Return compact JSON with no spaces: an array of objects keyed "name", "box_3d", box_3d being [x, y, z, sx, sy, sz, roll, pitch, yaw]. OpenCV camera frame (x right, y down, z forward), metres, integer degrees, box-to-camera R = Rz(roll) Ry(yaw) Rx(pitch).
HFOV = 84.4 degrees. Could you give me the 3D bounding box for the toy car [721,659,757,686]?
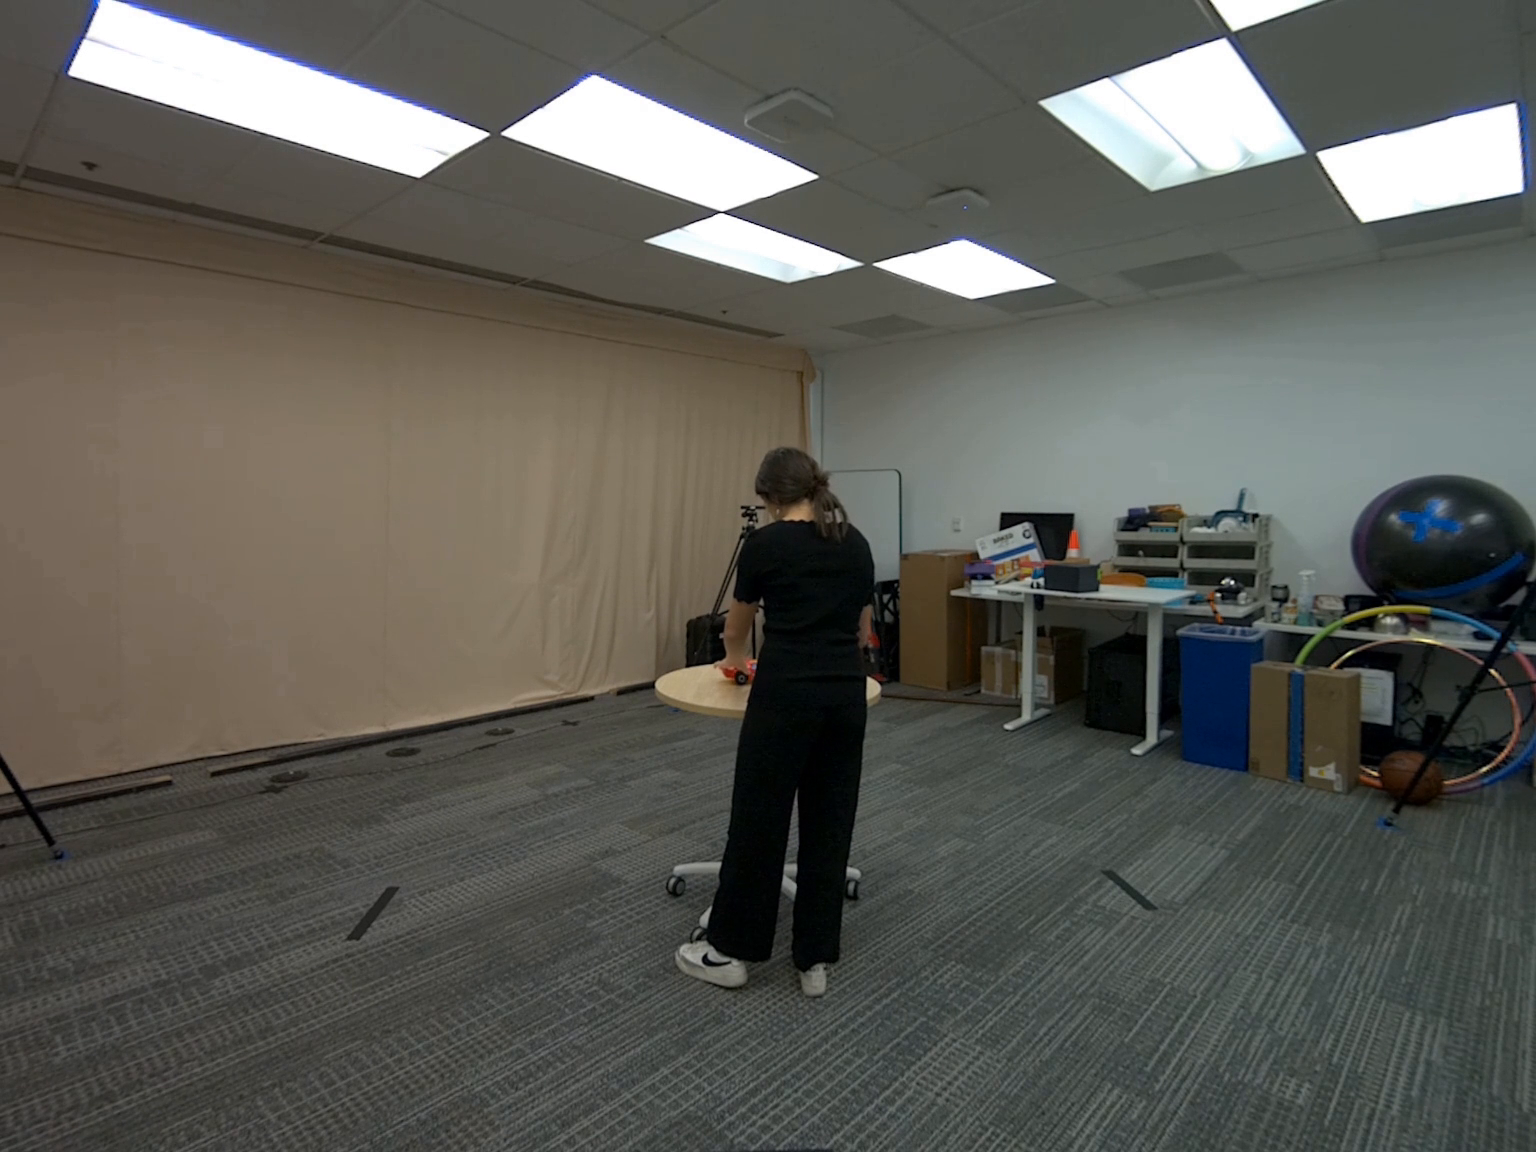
[{"name":"toy car","box_3d":[-0.044,0.333,2.904,0.253,0.083,0.131,12,3,-4]}]
